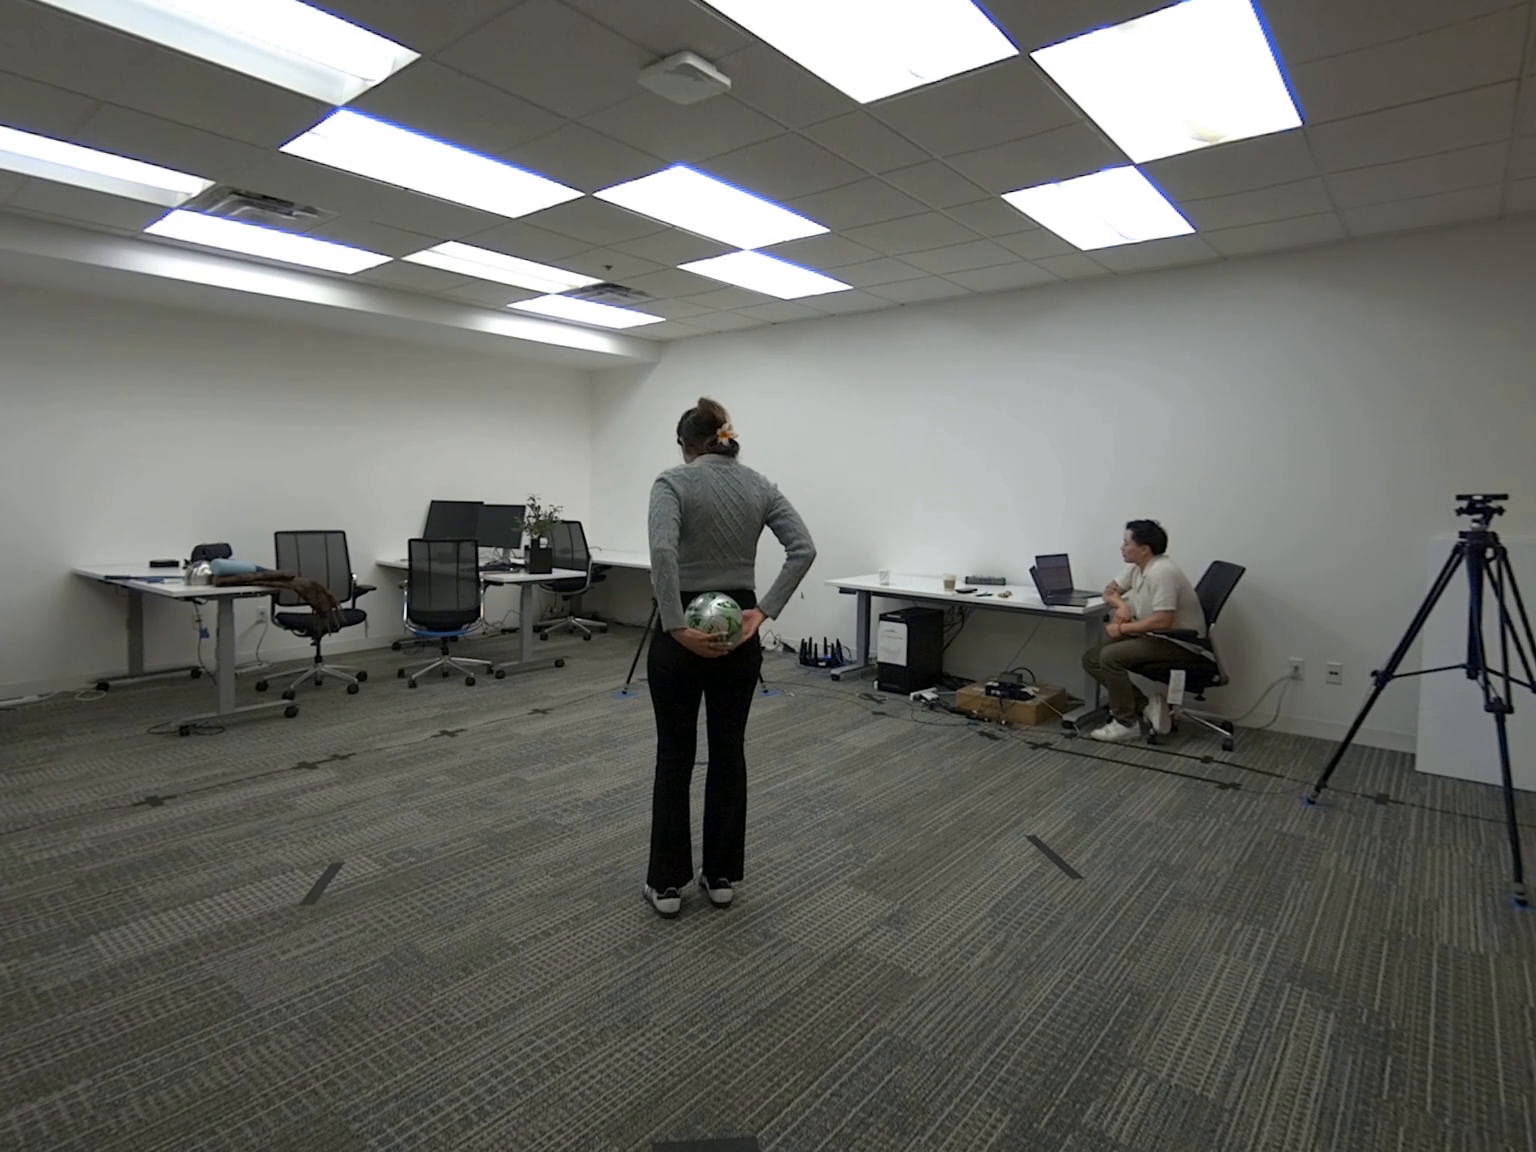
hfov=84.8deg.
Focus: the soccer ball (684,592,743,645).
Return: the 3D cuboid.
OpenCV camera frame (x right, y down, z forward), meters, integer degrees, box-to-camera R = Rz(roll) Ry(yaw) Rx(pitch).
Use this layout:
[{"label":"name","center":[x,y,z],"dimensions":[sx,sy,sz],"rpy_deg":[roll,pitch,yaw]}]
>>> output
[{"label":"soccer ball","center":[-0.173,0.141,2.631],"dimensions":[0.187,0.187,0.188],"rpy_deg":[0,4,-2]}]
